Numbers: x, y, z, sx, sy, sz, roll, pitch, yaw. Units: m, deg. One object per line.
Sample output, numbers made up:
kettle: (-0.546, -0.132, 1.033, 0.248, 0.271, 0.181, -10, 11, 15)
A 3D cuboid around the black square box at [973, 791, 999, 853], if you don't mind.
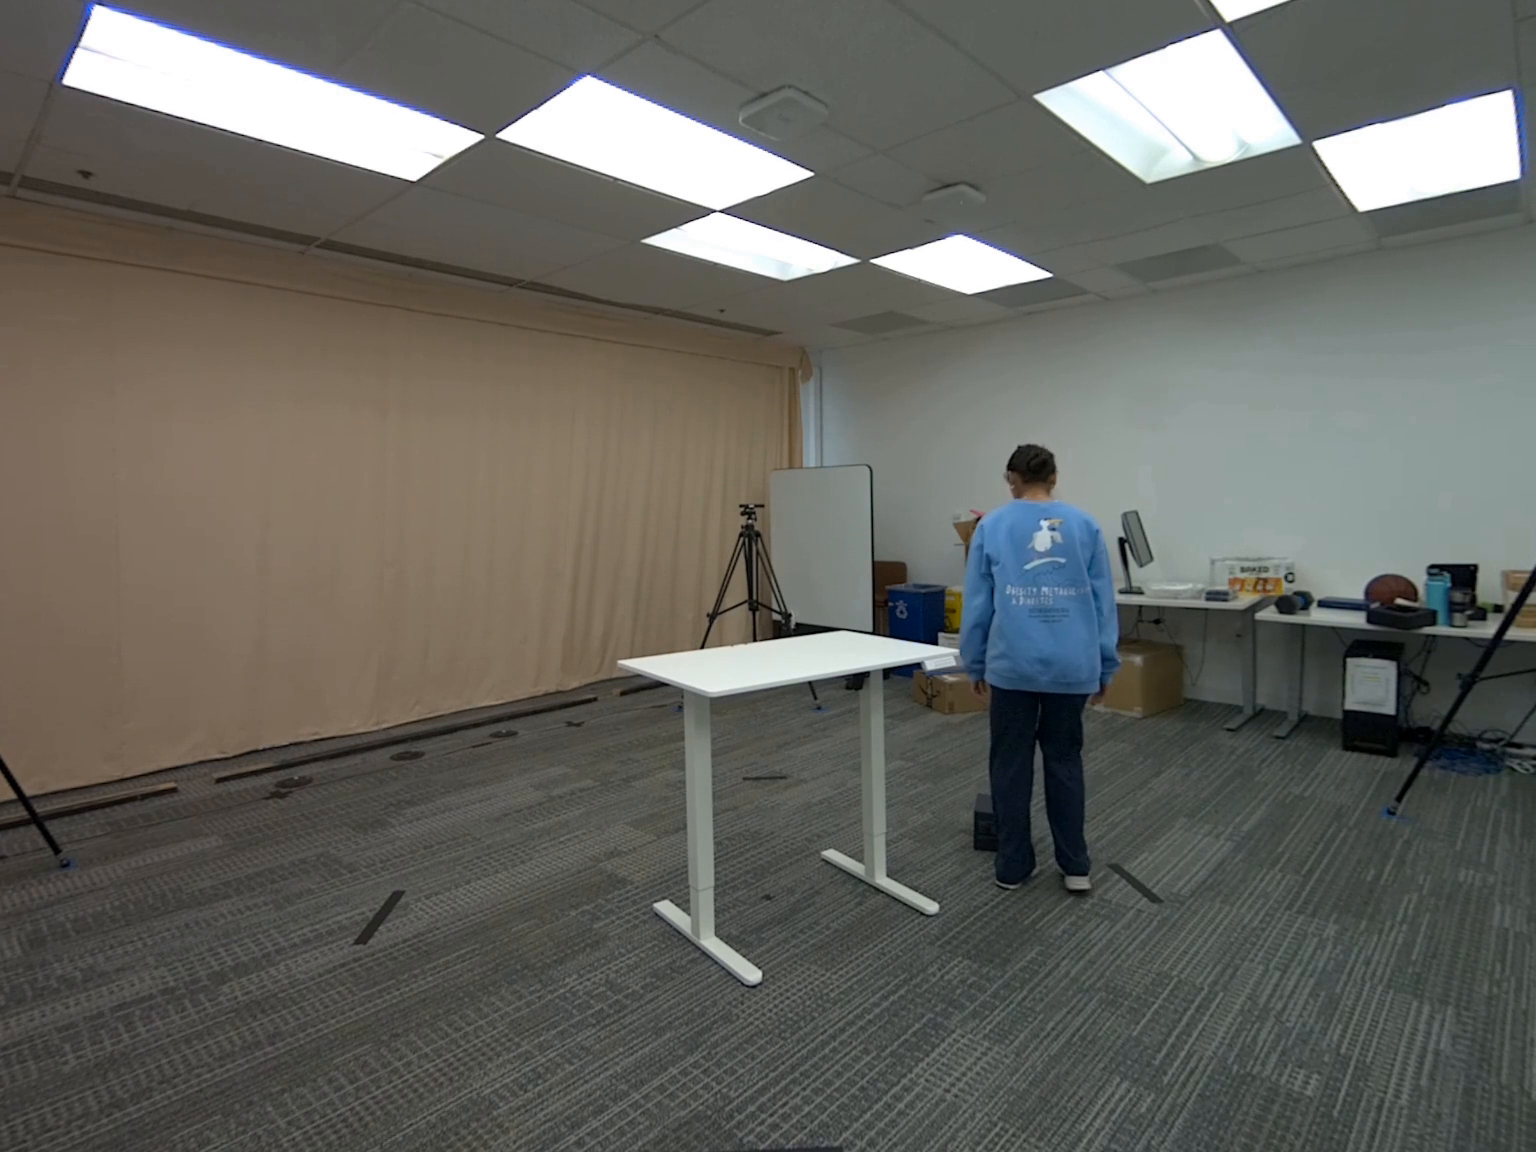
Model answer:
black square box: (0.961, 1.004, 3.427, 0.221, 0.155, 0.224, 1, 4, 18)
